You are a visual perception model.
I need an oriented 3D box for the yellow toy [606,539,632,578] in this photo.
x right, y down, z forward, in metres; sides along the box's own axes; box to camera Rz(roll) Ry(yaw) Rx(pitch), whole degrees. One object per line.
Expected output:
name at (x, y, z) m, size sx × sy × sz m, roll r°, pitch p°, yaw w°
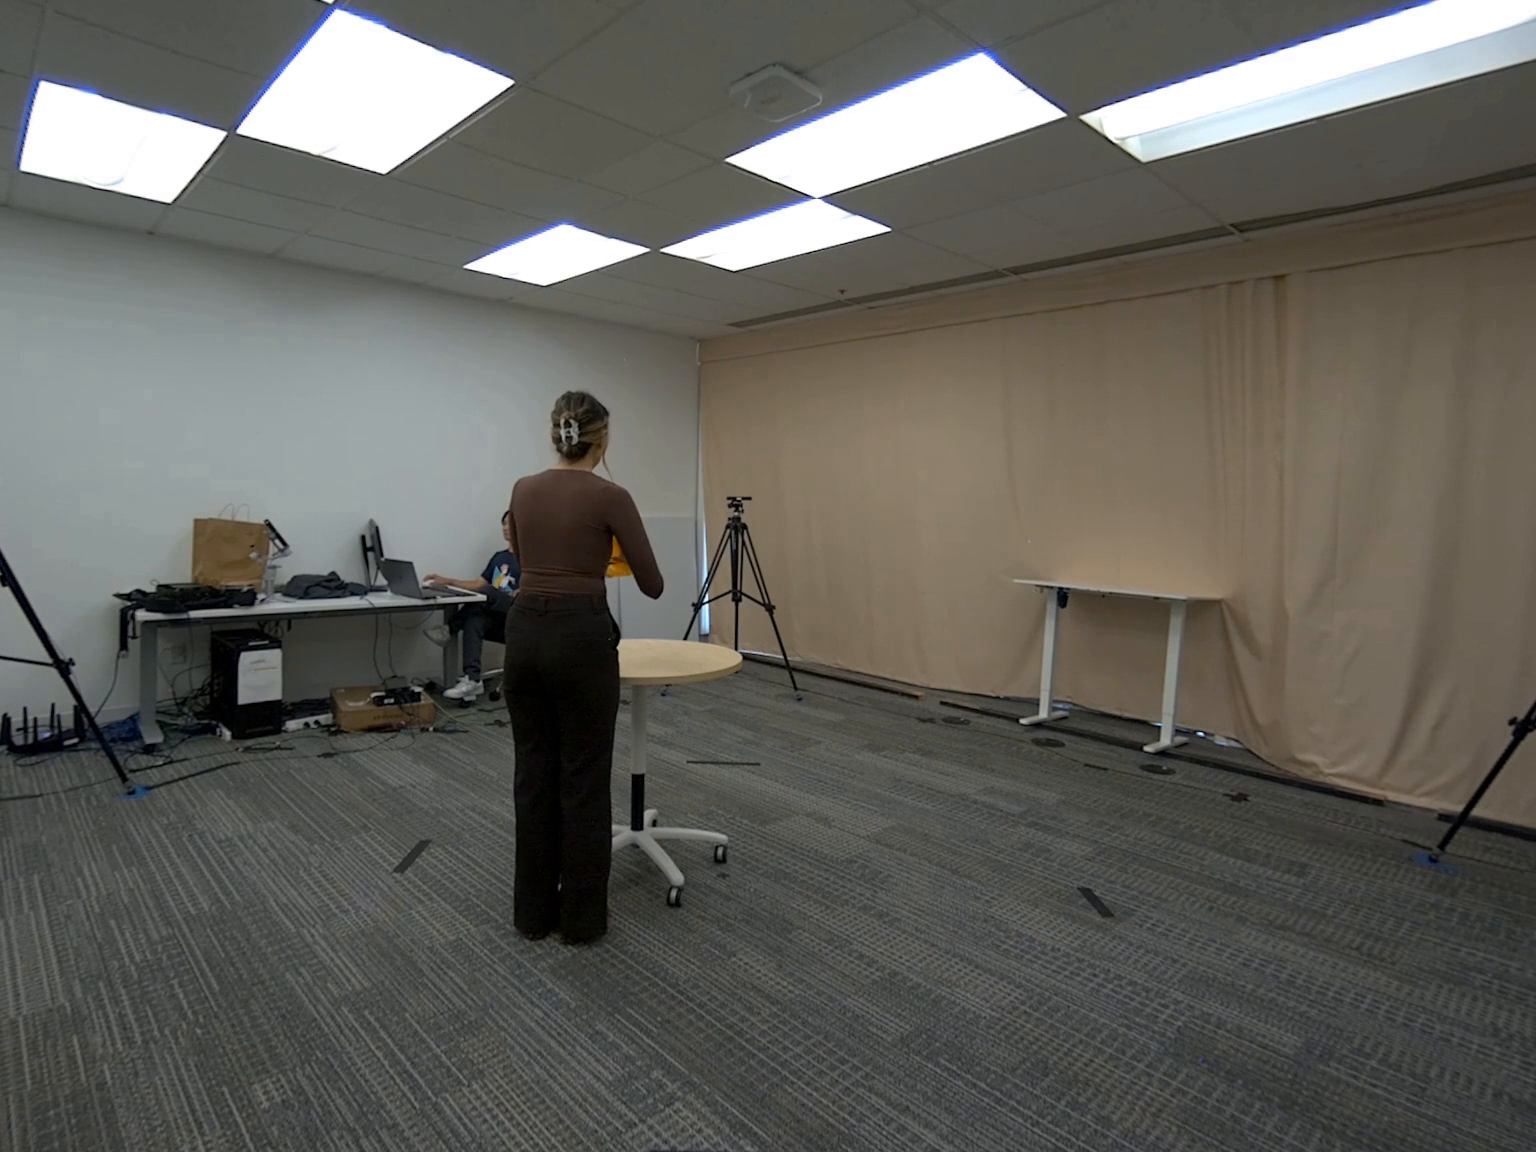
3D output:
yellow toy at (-0.526, -0.135, 2.982) m, size 0.191 × 0.227 × 0.210 m, roll -8°, pitch 20°, yaw -19°
